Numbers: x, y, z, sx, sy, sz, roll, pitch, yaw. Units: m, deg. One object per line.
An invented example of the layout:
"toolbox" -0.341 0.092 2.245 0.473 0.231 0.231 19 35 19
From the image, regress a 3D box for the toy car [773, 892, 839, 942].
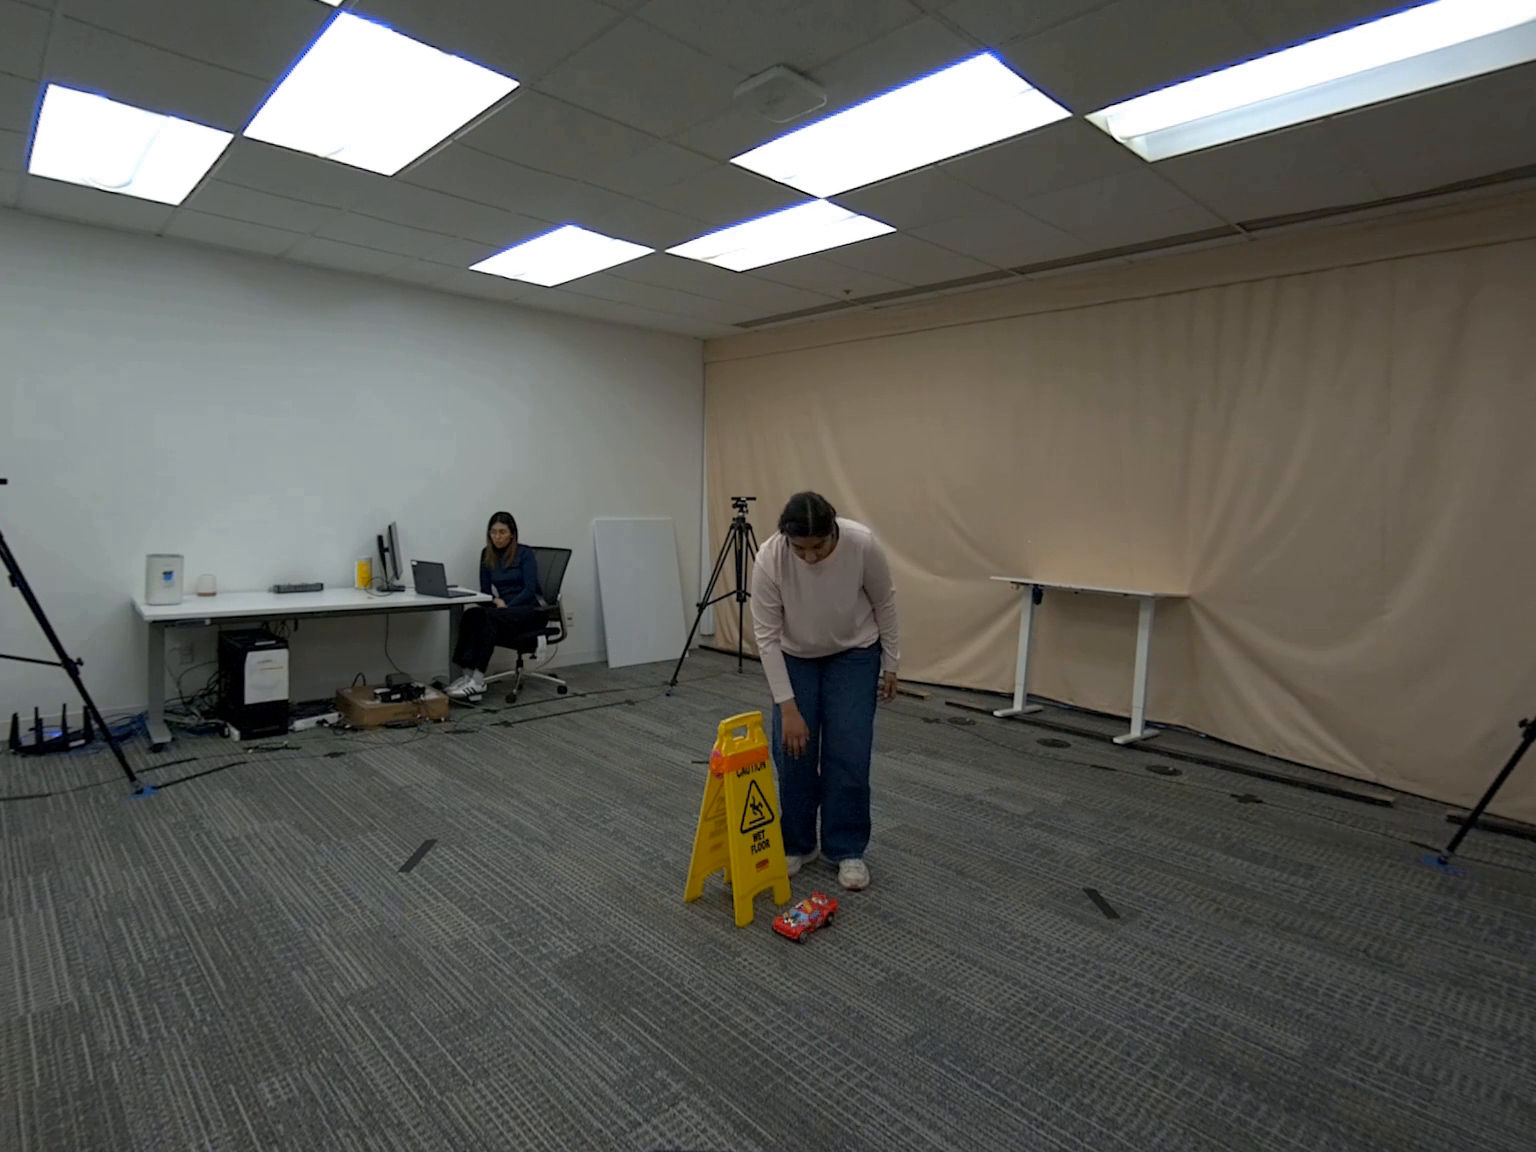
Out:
"toy car" 0.116 1.118 2.740 0.133 0.082 0.251 4 17 40
